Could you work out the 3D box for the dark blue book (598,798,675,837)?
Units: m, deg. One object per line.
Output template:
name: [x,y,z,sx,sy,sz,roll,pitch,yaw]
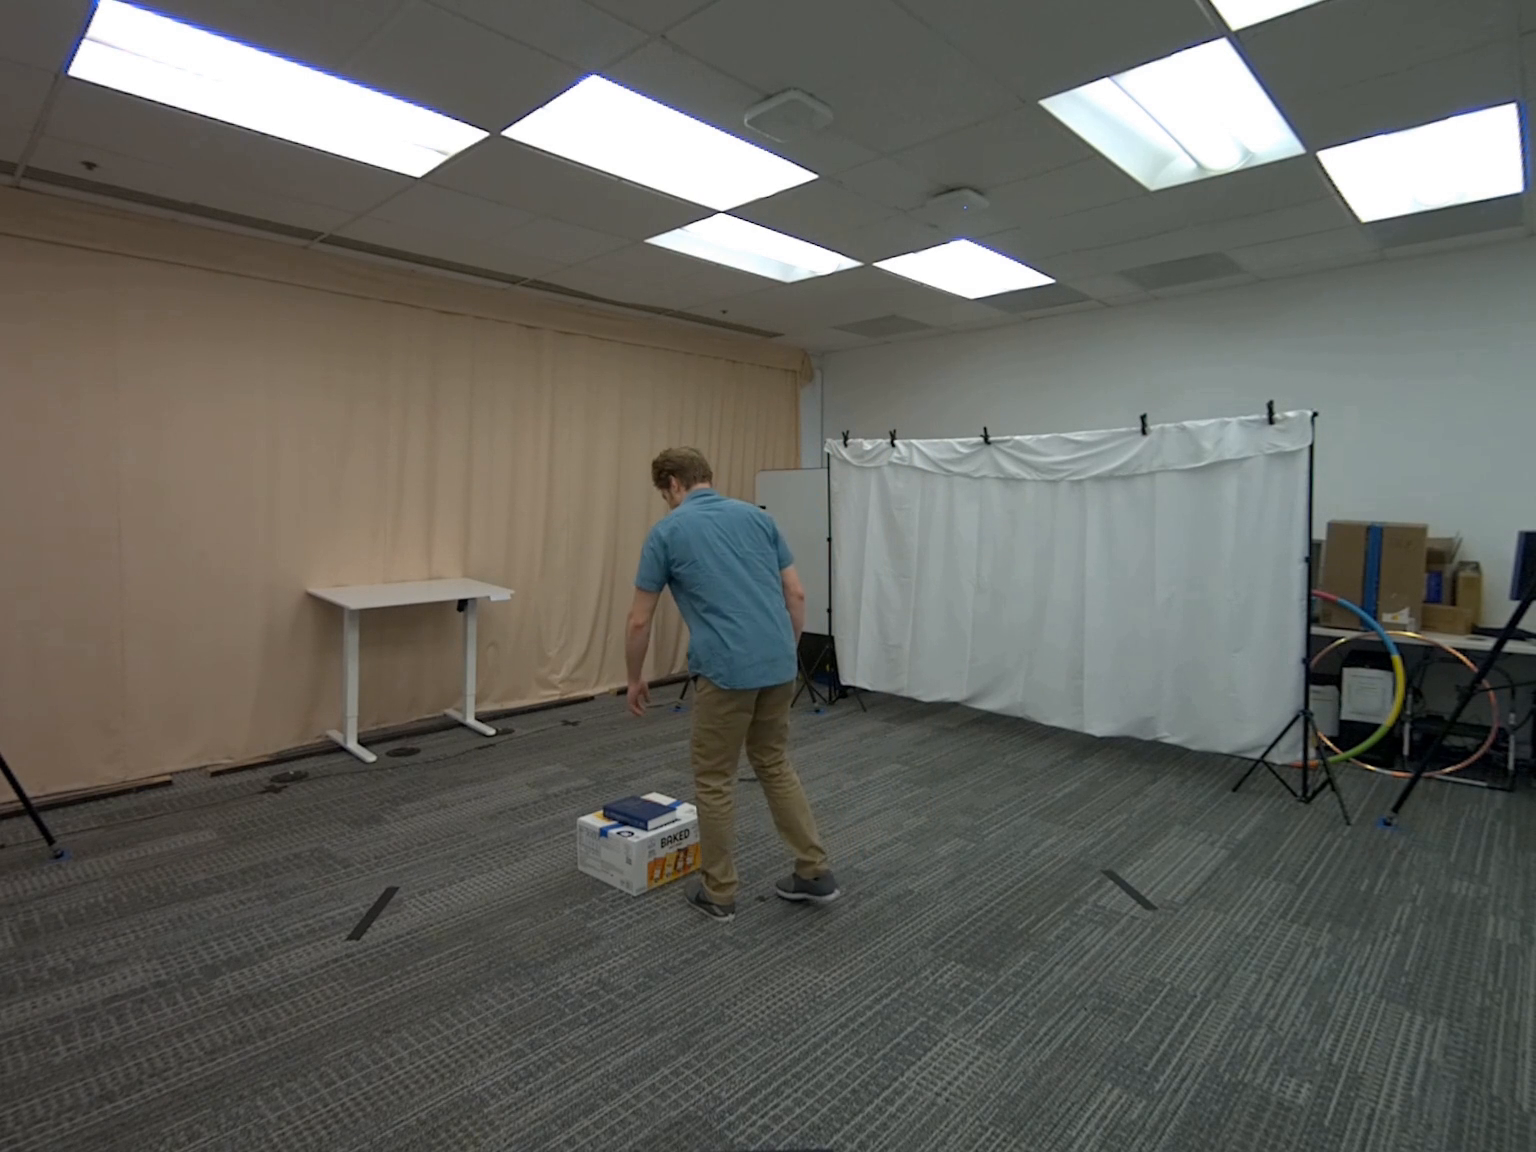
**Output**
dark blue book: [-0.503,0.916,3.227,0.253,0.045,0.158,3,5,38]
